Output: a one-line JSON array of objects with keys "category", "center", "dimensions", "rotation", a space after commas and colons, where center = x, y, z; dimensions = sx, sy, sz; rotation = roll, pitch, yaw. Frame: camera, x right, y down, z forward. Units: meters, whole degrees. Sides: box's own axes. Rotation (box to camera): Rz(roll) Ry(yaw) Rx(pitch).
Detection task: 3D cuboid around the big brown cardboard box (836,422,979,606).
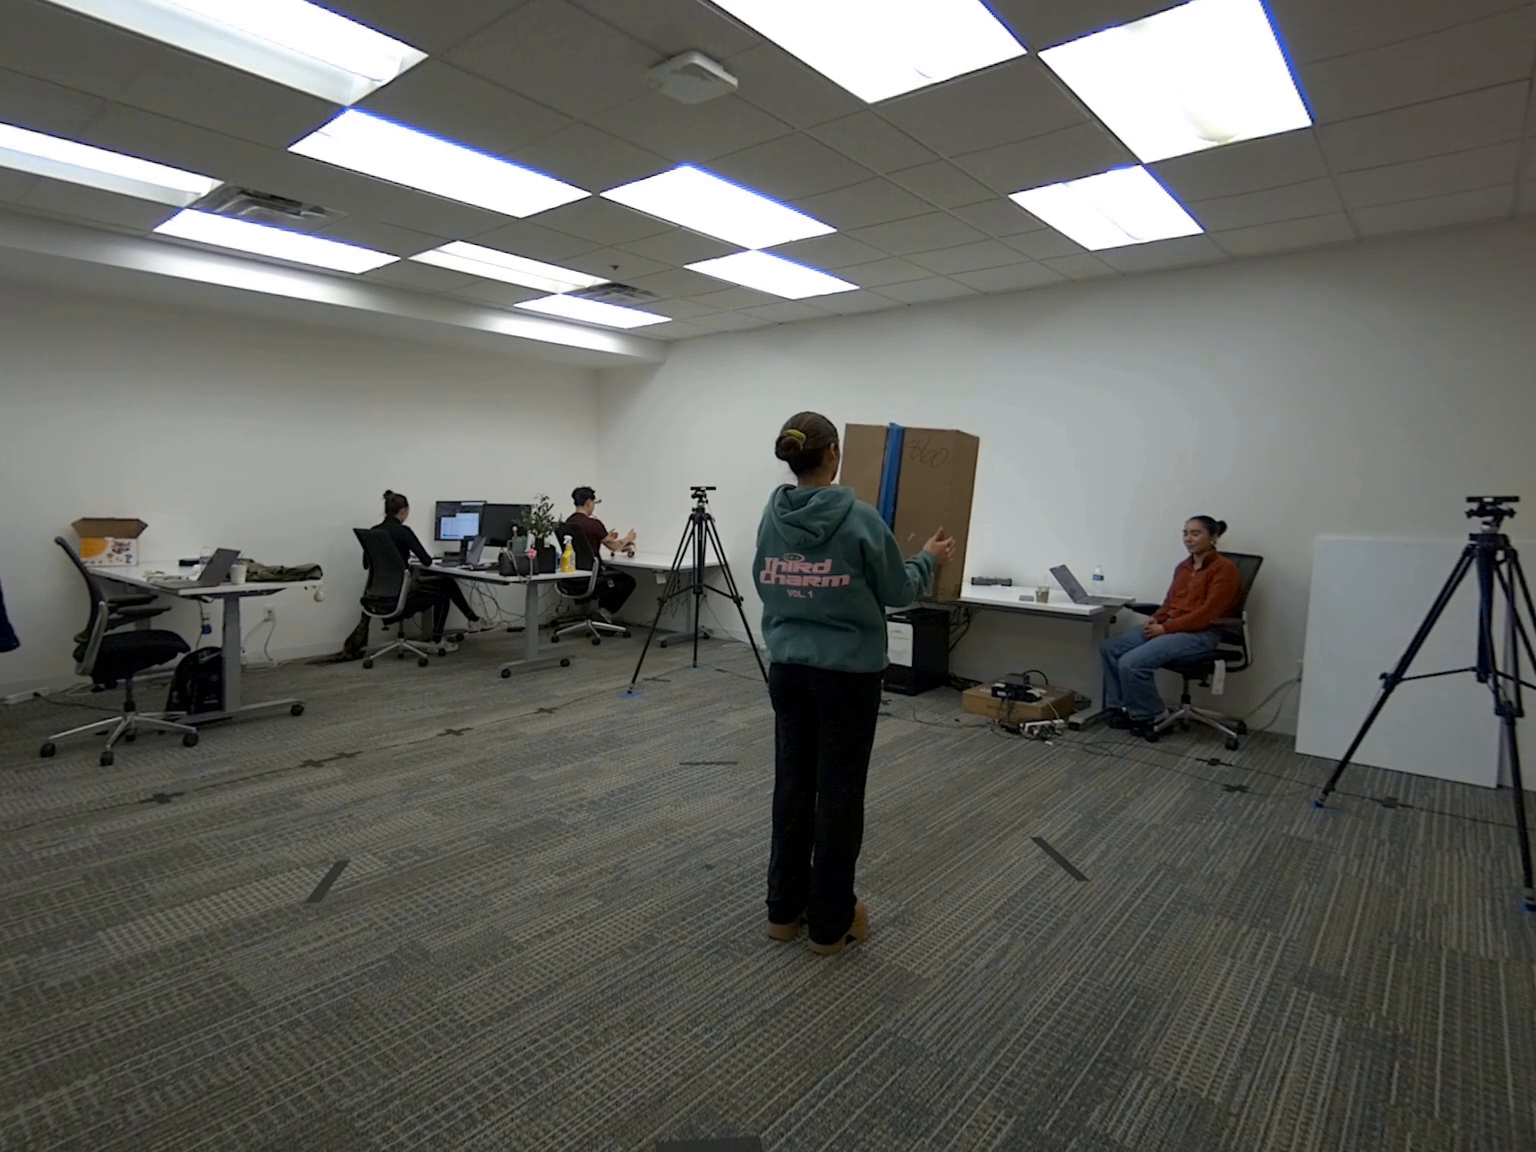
[{"category": "big brown cardboard box", "center": [0.461, -0.226, 2.965], "dimensions": [0.432, 0.588, 0.226], "rotation": [8, 2, 35]}]
